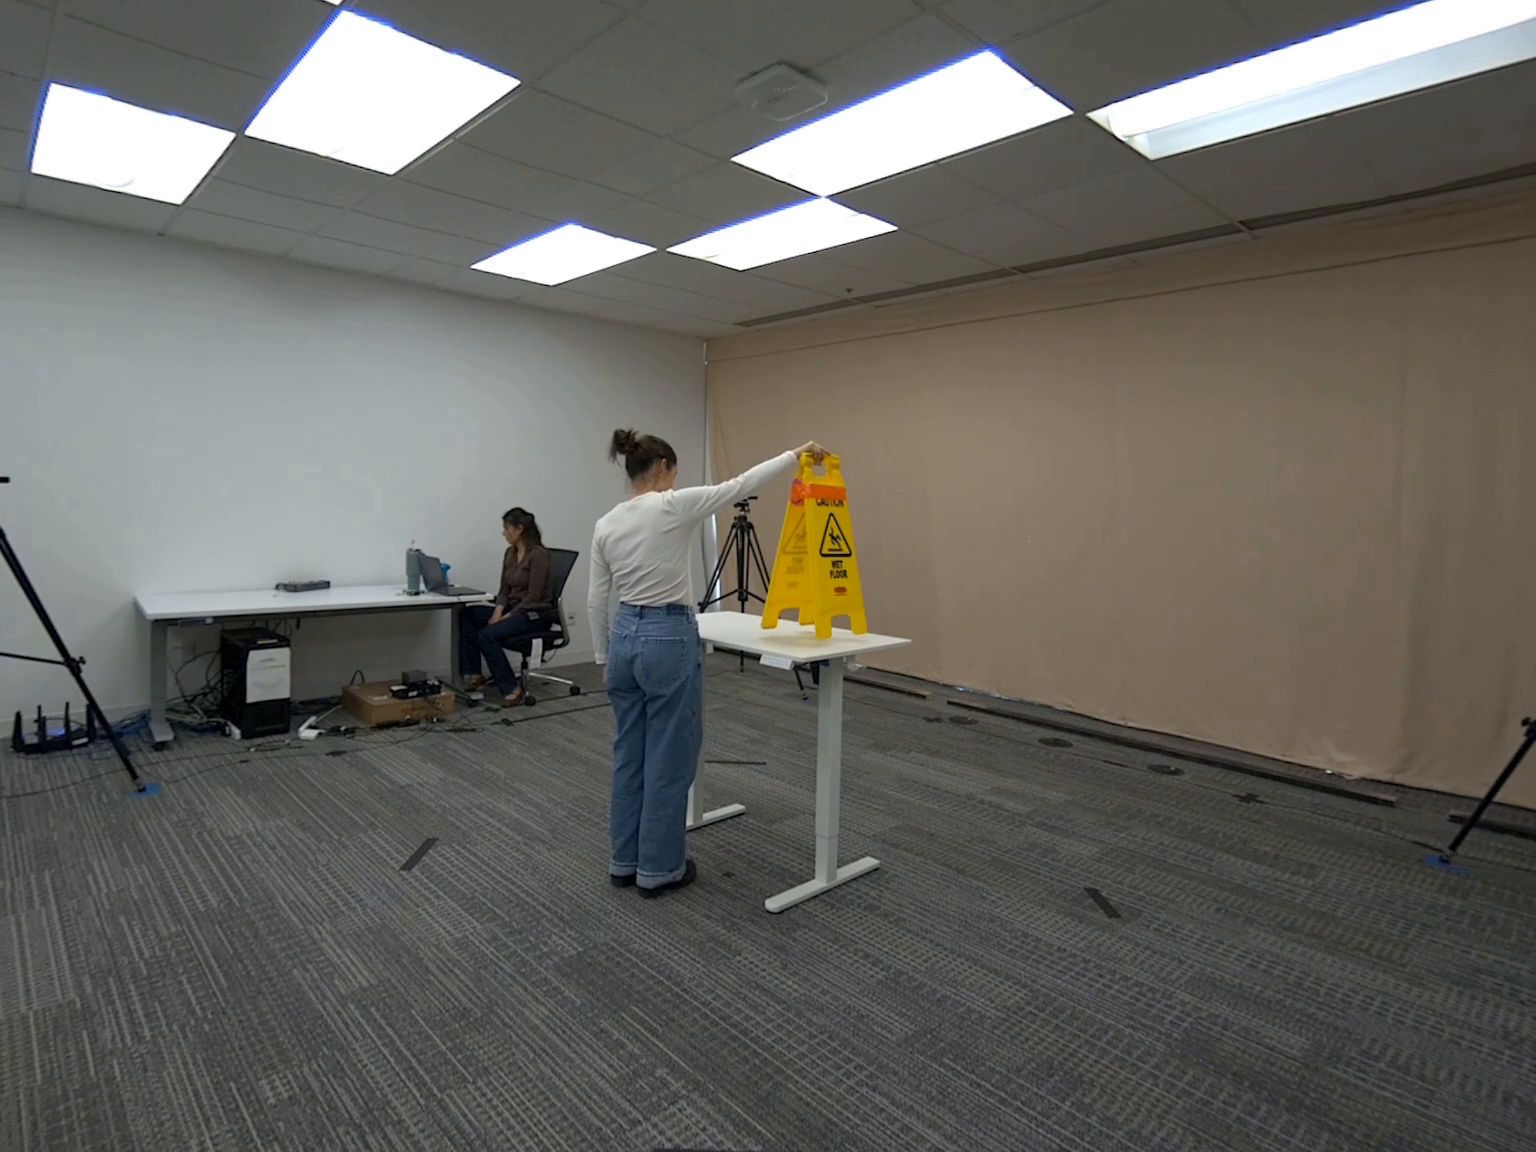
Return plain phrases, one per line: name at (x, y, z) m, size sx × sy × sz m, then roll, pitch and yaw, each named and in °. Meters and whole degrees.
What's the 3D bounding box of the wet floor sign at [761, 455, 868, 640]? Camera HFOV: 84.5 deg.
wet floor sign at (0.174, -0.119, 3.055) m, size 0.275 × 0.645 × 0.297 m, roll -1°, pitch 4°, yaw -45°
